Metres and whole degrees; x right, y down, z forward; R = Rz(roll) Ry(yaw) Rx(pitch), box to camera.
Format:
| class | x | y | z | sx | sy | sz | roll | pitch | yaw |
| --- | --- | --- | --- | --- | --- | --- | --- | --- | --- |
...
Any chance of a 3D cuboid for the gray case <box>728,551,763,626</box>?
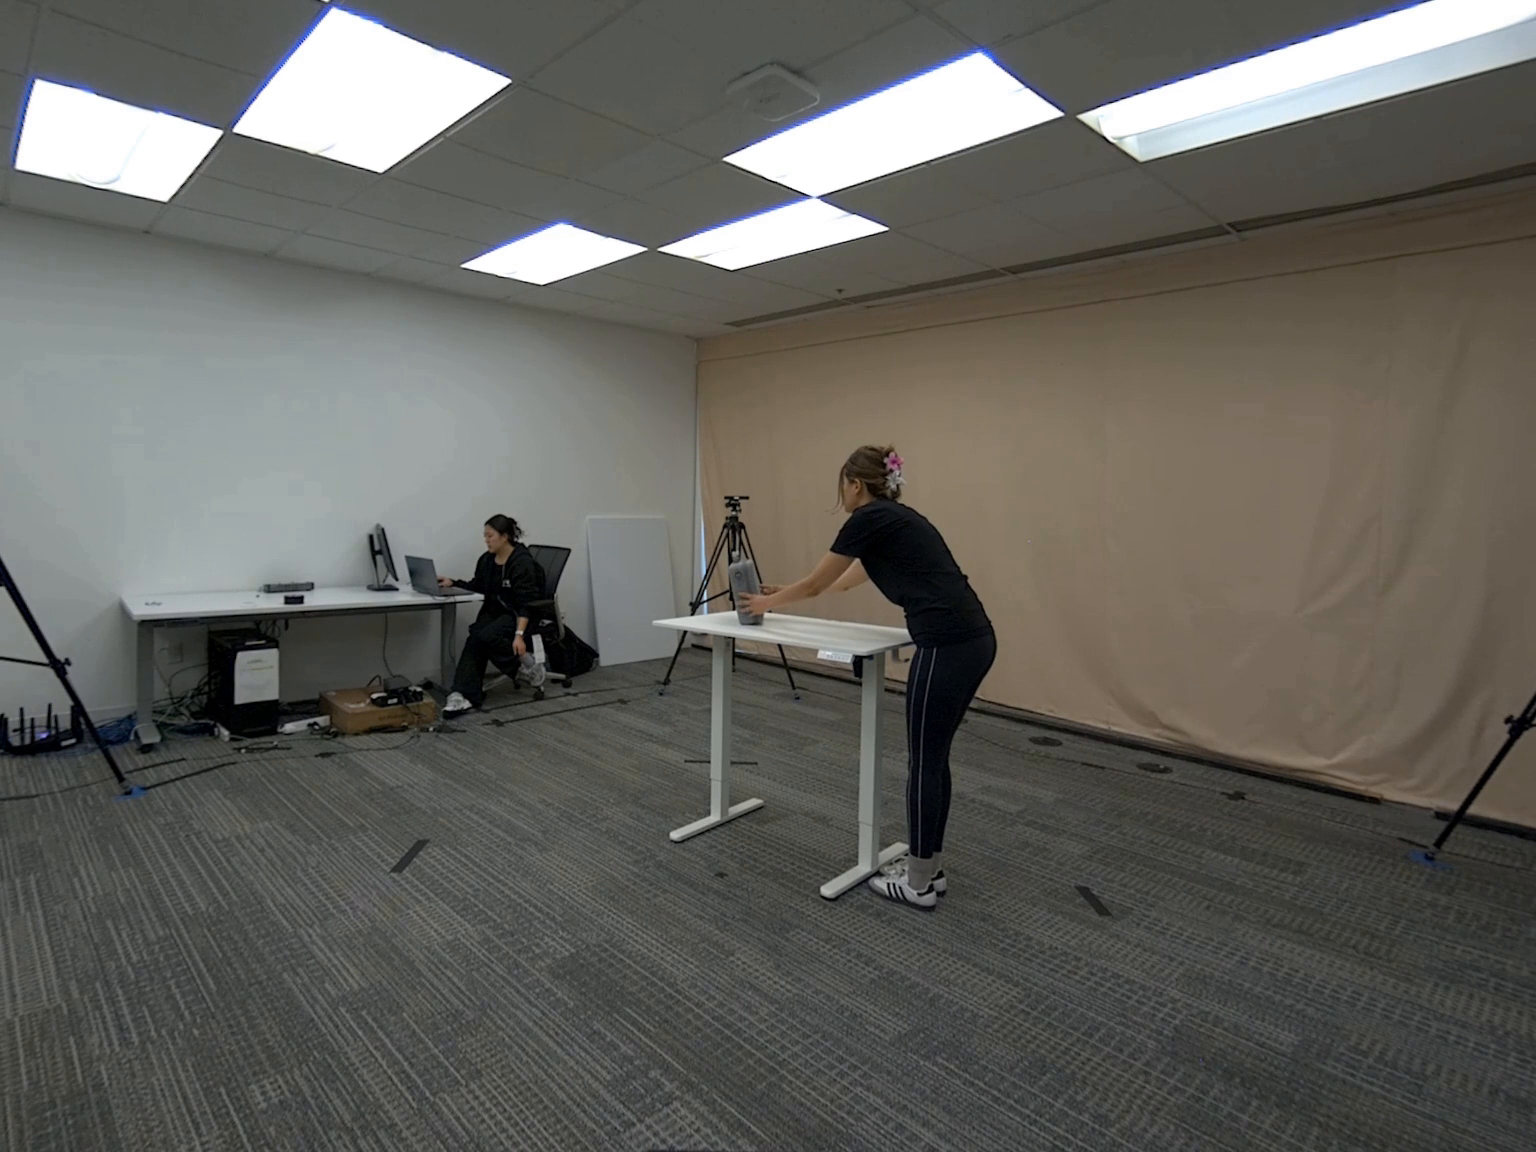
| class | x | y | z | sx | sy | sz | roll | pitch | yaw |
| --- | --- | --- | --- | --- | --- | --- | --- | --- | --- |
| gray case | -0.103 | 0.059 | 3.487 | 0.104 | 0.261 | 0.256 | -9 | -1 | 1 |
